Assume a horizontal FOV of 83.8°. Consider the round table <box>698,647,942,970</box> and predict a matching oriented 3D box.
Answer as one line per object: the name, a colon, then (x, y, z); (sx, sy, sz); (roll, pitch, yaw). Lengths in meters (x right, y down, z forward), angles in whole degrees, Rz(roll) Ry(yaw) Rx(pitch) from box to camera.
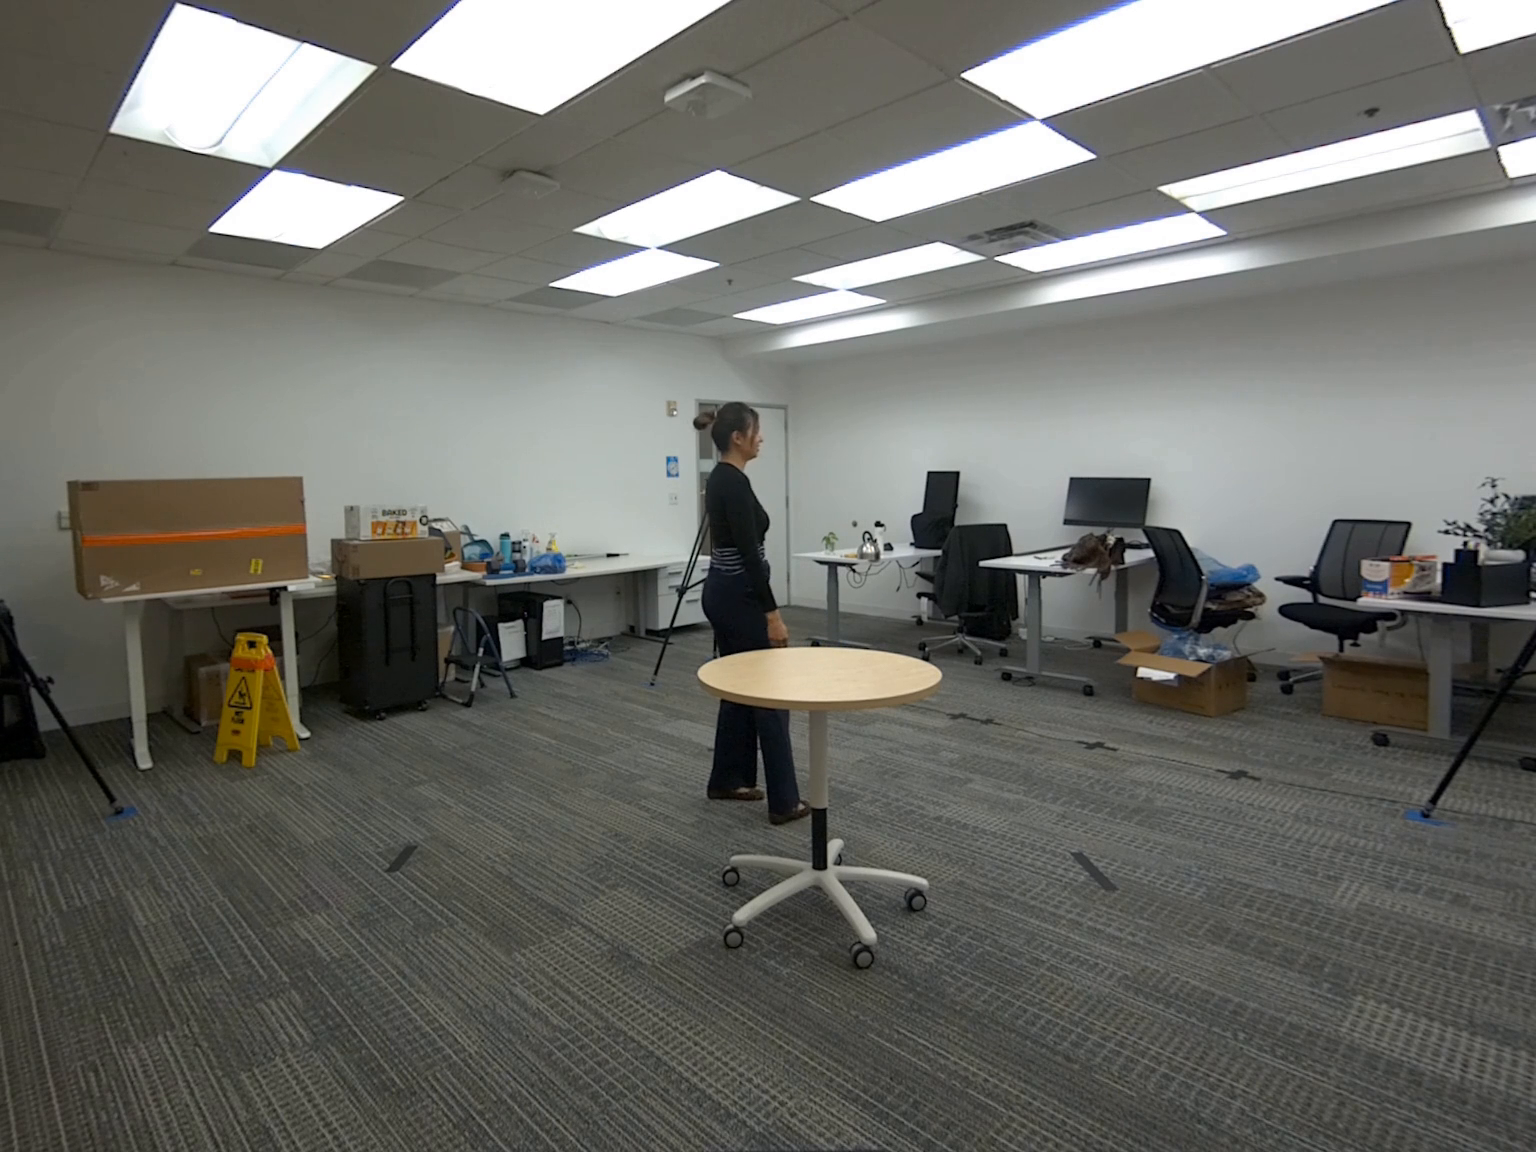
round table: (0.169, 0.694, 2.739); (0.763, 0.791, 0.768); (-1, 5, -2)
